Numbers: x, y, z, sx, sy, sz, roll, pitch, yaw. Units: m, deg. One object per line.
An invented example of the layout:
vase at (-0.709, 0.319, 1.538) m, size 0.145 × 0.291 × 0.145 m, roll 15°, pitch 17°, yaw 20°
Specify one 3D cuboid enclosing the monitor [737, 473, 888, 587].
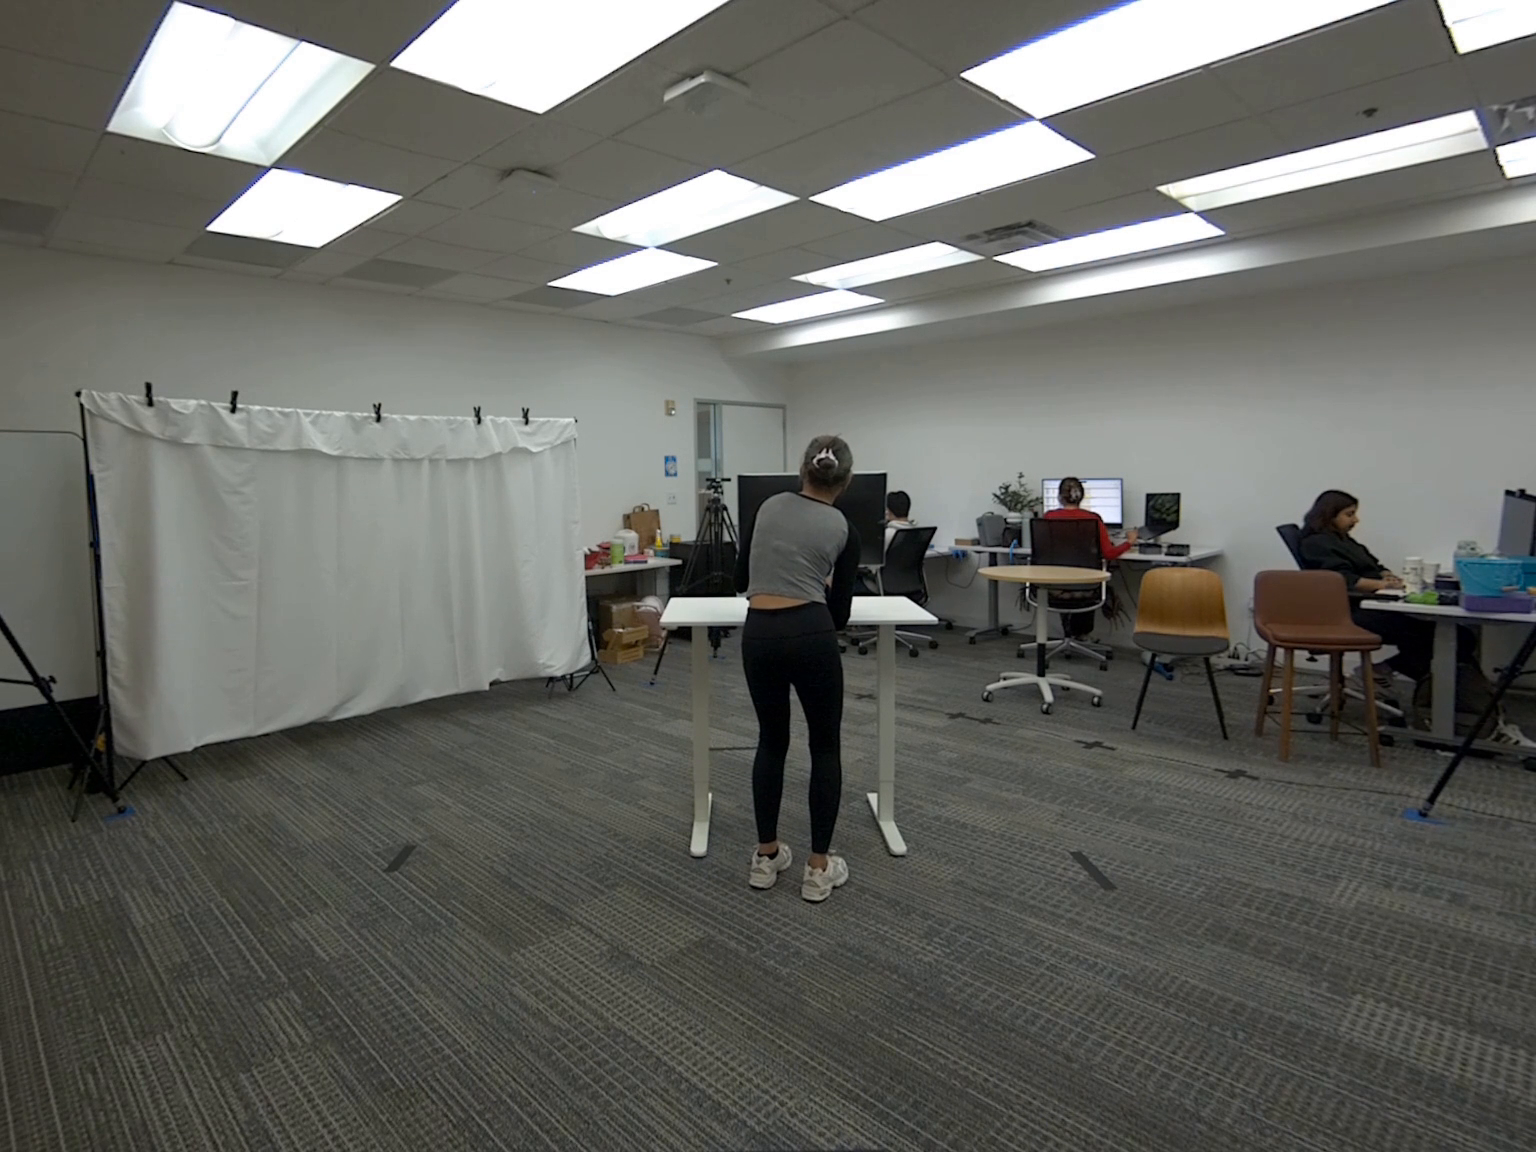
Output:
monitor at (0.171, -0.118, 3.189) m, size 0.539 × 0.521 × 0.187 m, roll 0°, pitch 3°, yaw 0°
